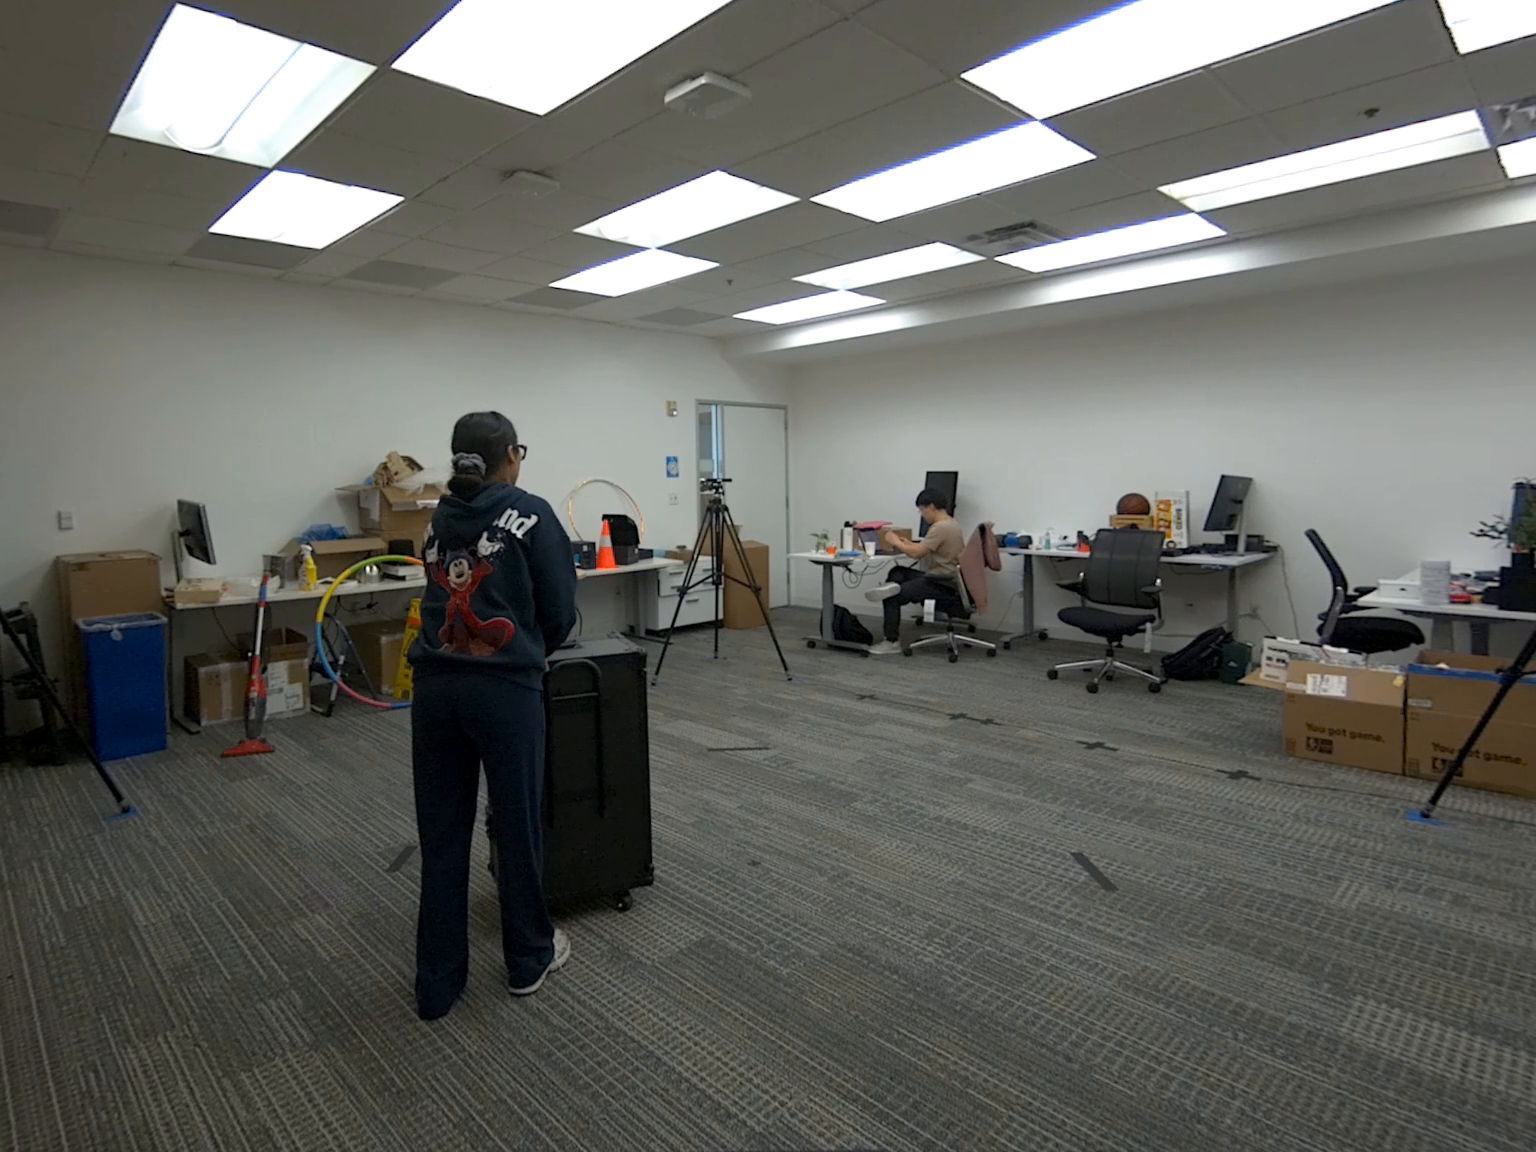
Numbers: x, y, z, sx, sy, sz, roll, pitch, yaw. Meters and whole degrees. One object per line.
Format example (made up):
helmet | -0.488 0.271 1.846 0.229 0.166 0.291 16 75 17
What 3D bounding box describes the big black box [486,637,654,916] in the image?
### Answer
big black box | -0.660 0.661 2.846 0.511 0.857 0.406 -4 5 -24
